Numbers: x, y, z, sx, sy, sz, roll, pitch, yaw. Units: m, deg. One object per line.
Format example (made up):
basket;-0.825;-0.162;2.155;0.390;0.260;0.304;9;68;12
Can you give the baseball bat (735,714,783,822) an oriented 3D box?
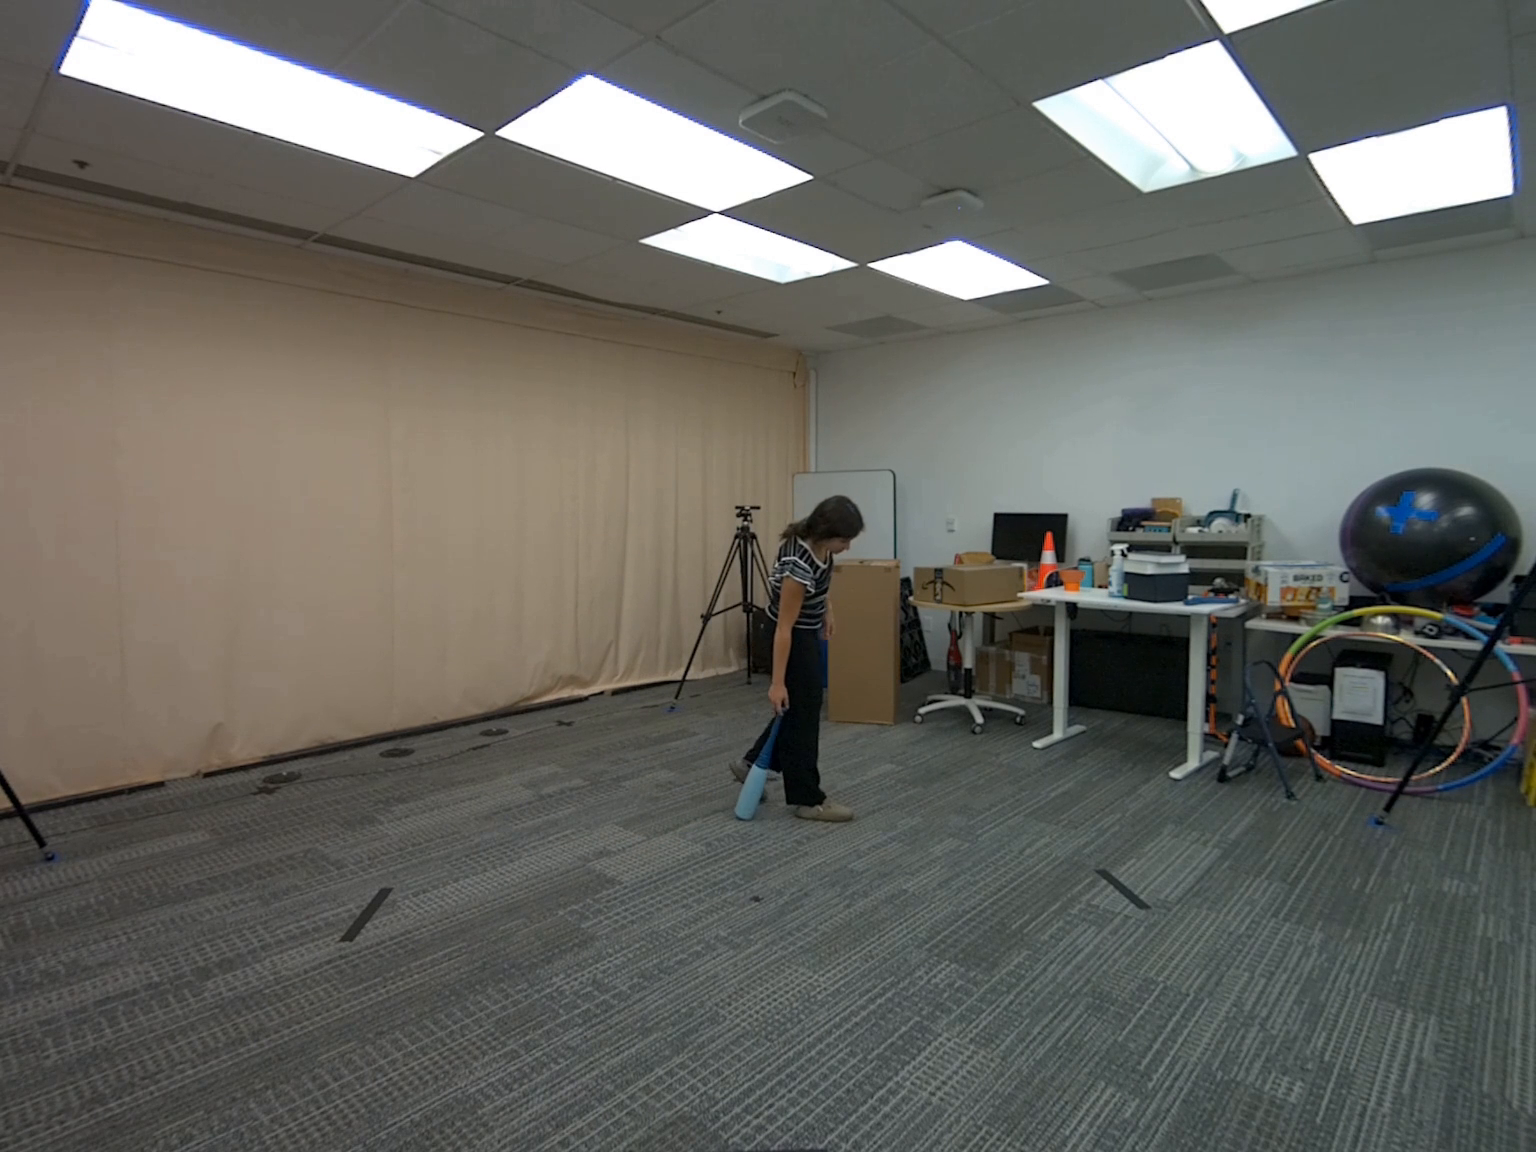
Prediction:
baseball bat;-0.030;0.824;3.718;0.088;0.542;0.090;18;8;-5
